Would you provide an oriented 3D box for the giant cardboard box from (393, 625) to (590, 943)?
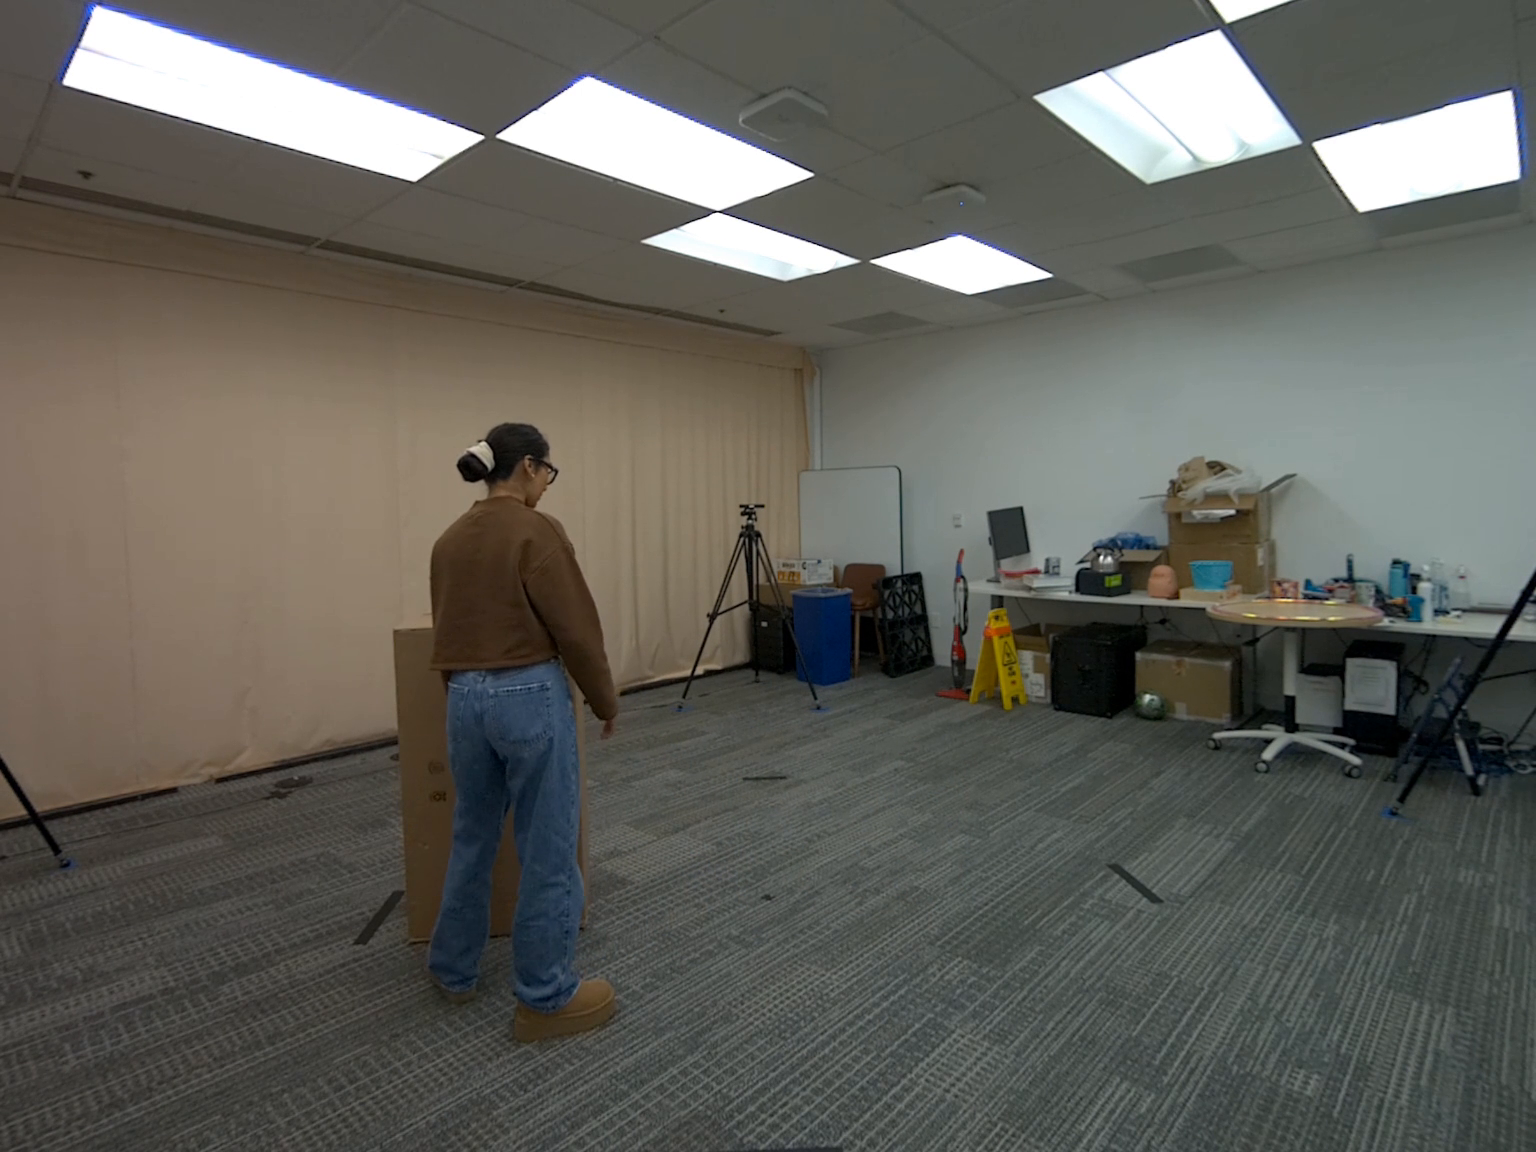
[{"bbox_3d":[-0.941,0.659,2.939,0.573,1.024,0.431,-3,3,-8],"label":"giant cardboard box"}]
